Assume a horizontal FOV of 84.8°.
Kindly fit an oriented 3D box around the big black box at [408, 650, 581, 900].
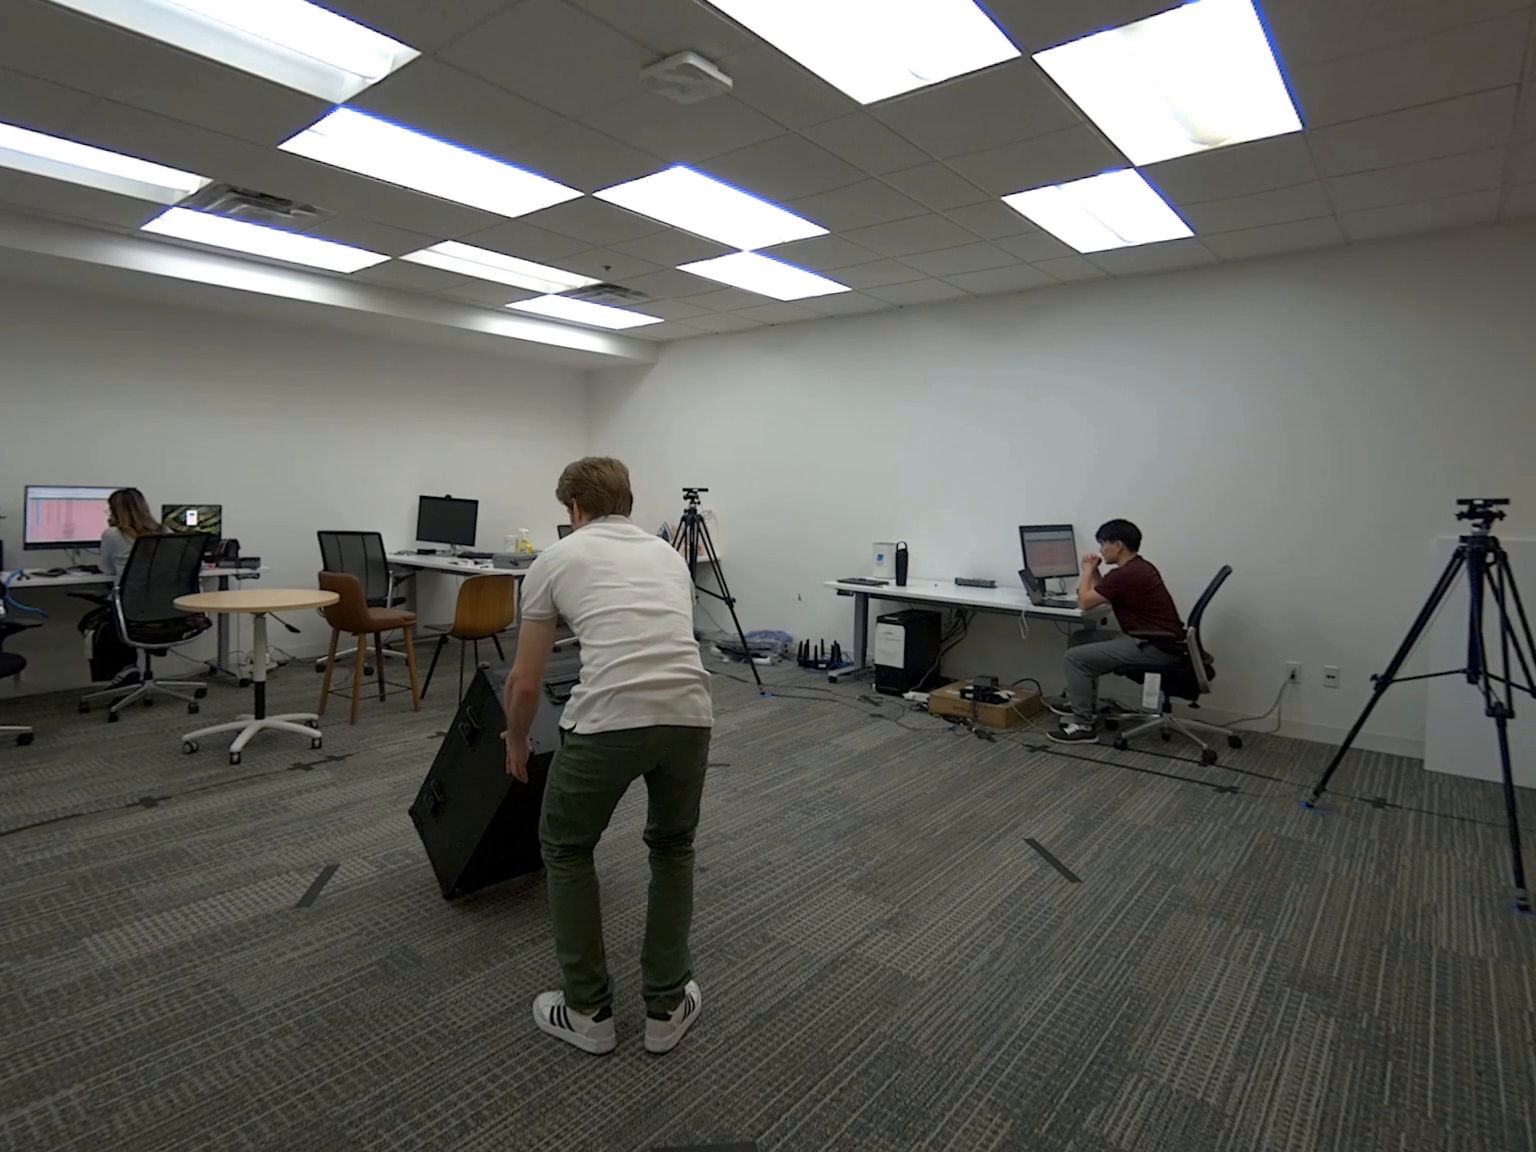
[{"bbox_3d":[-0.829,0.684,2.871,0.505,0.856,0.411,-3,47,-46],"label":"big black box"}]
